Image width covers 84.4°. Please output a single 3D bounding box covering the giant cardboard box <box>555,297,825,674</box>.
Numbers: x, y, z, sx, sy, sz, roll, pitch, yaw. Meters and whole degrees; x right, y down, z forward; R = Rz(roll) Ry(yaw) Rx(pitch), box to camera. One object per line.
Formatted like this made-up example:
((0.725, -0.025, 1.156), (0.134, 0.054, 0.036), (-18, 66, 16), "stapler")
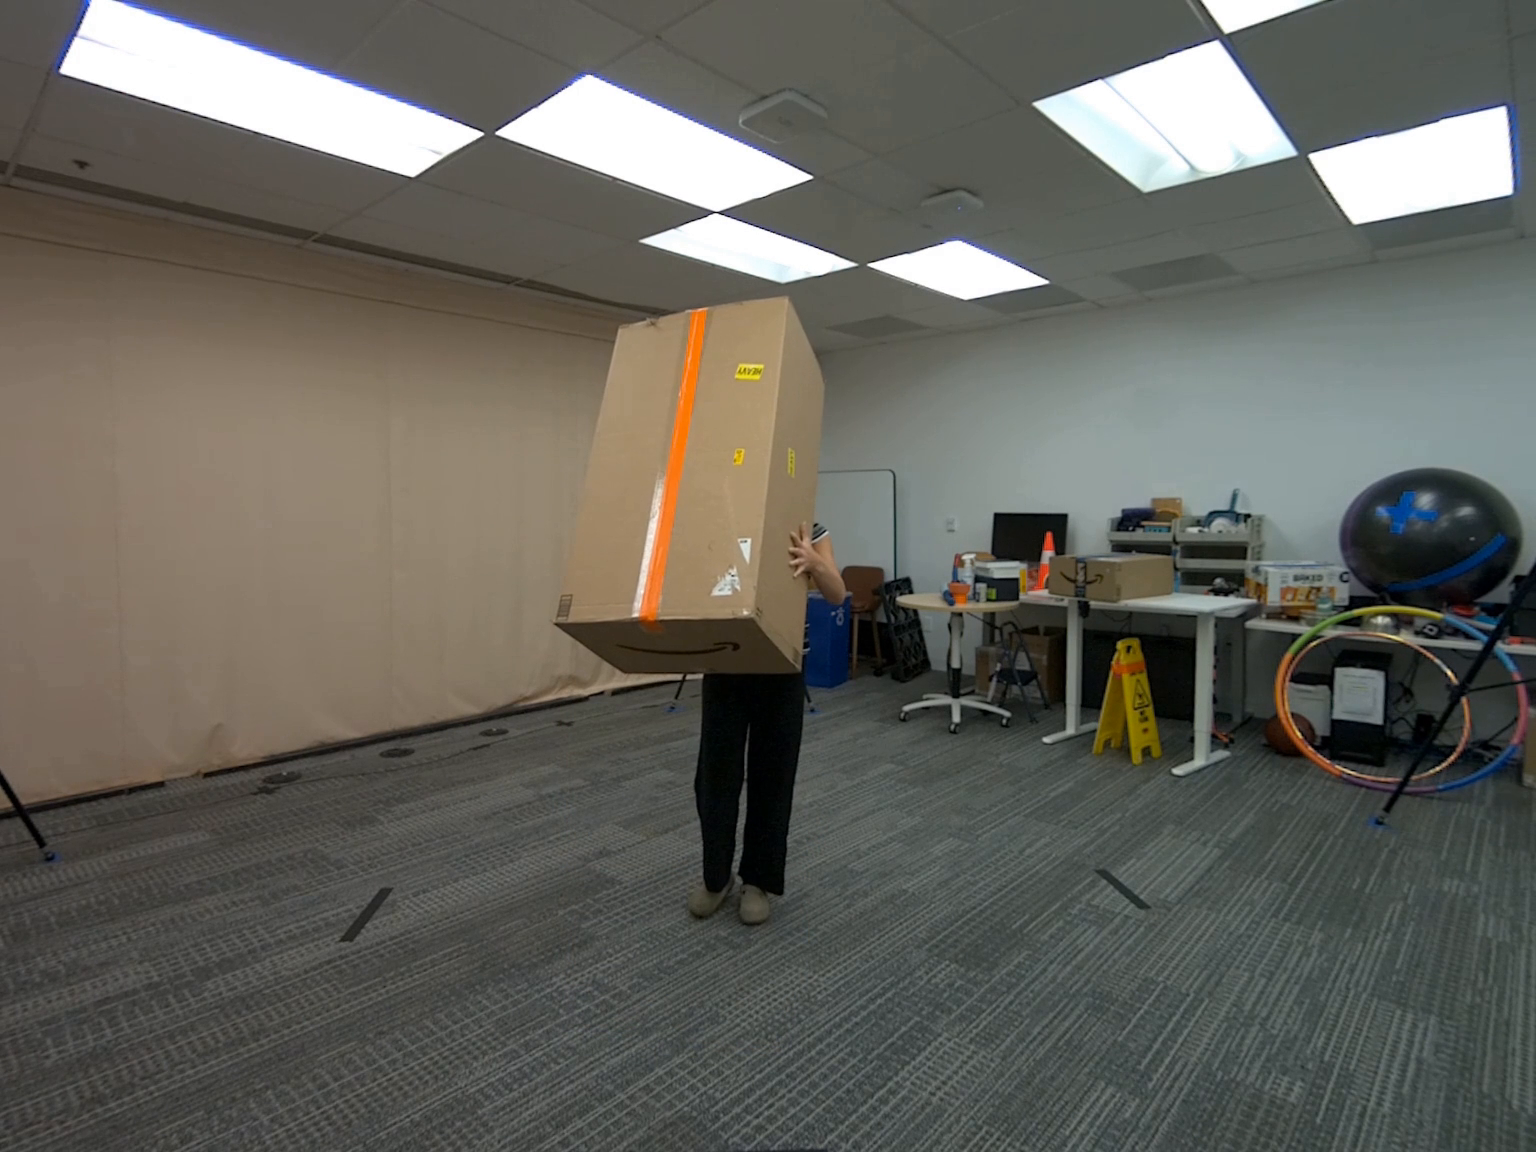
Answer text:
((-0.190, -0.256, 2.537), (0.590, 1.037, 0.412), (-3, -26, 21), "giant cardboard box")
